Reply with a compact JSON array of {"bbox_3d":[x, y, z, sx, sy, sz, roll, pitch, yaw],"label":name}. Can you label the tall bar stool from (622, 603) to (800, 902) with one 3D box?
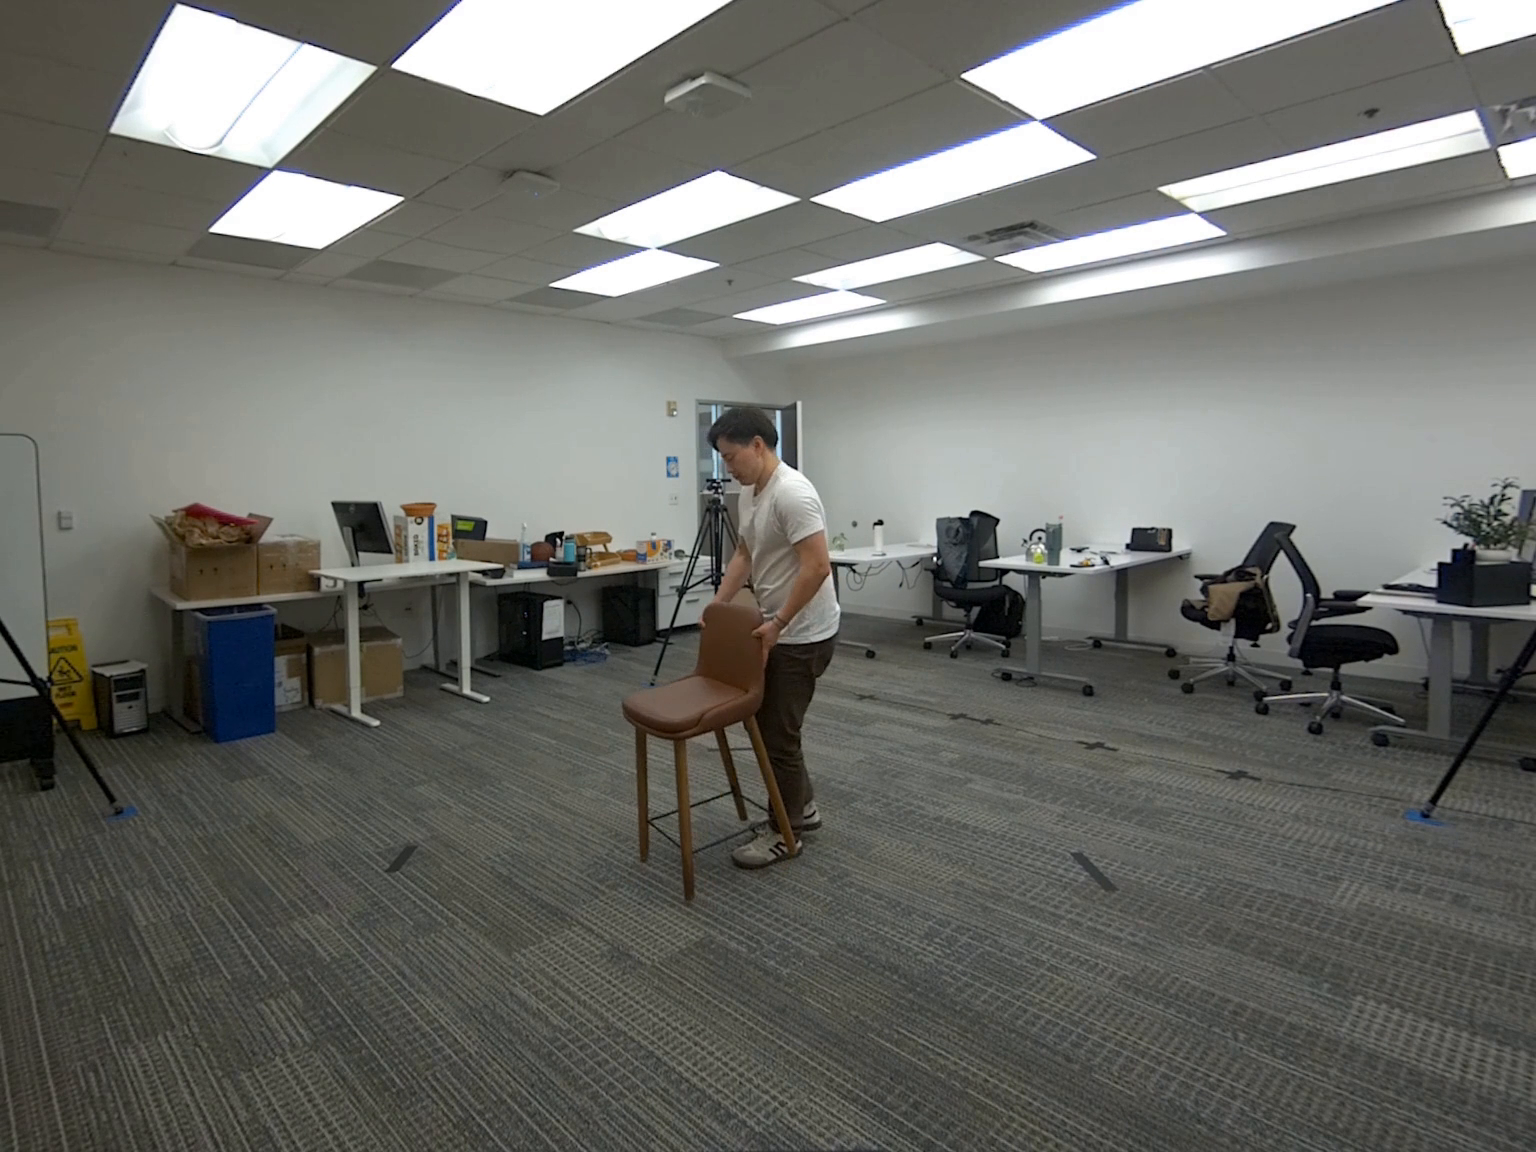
[{"bbox_3d":[-0.235,0.584,3.039,0.458,0.884,0.469,-9,7,-29],"label":"tall bar stool"}]
